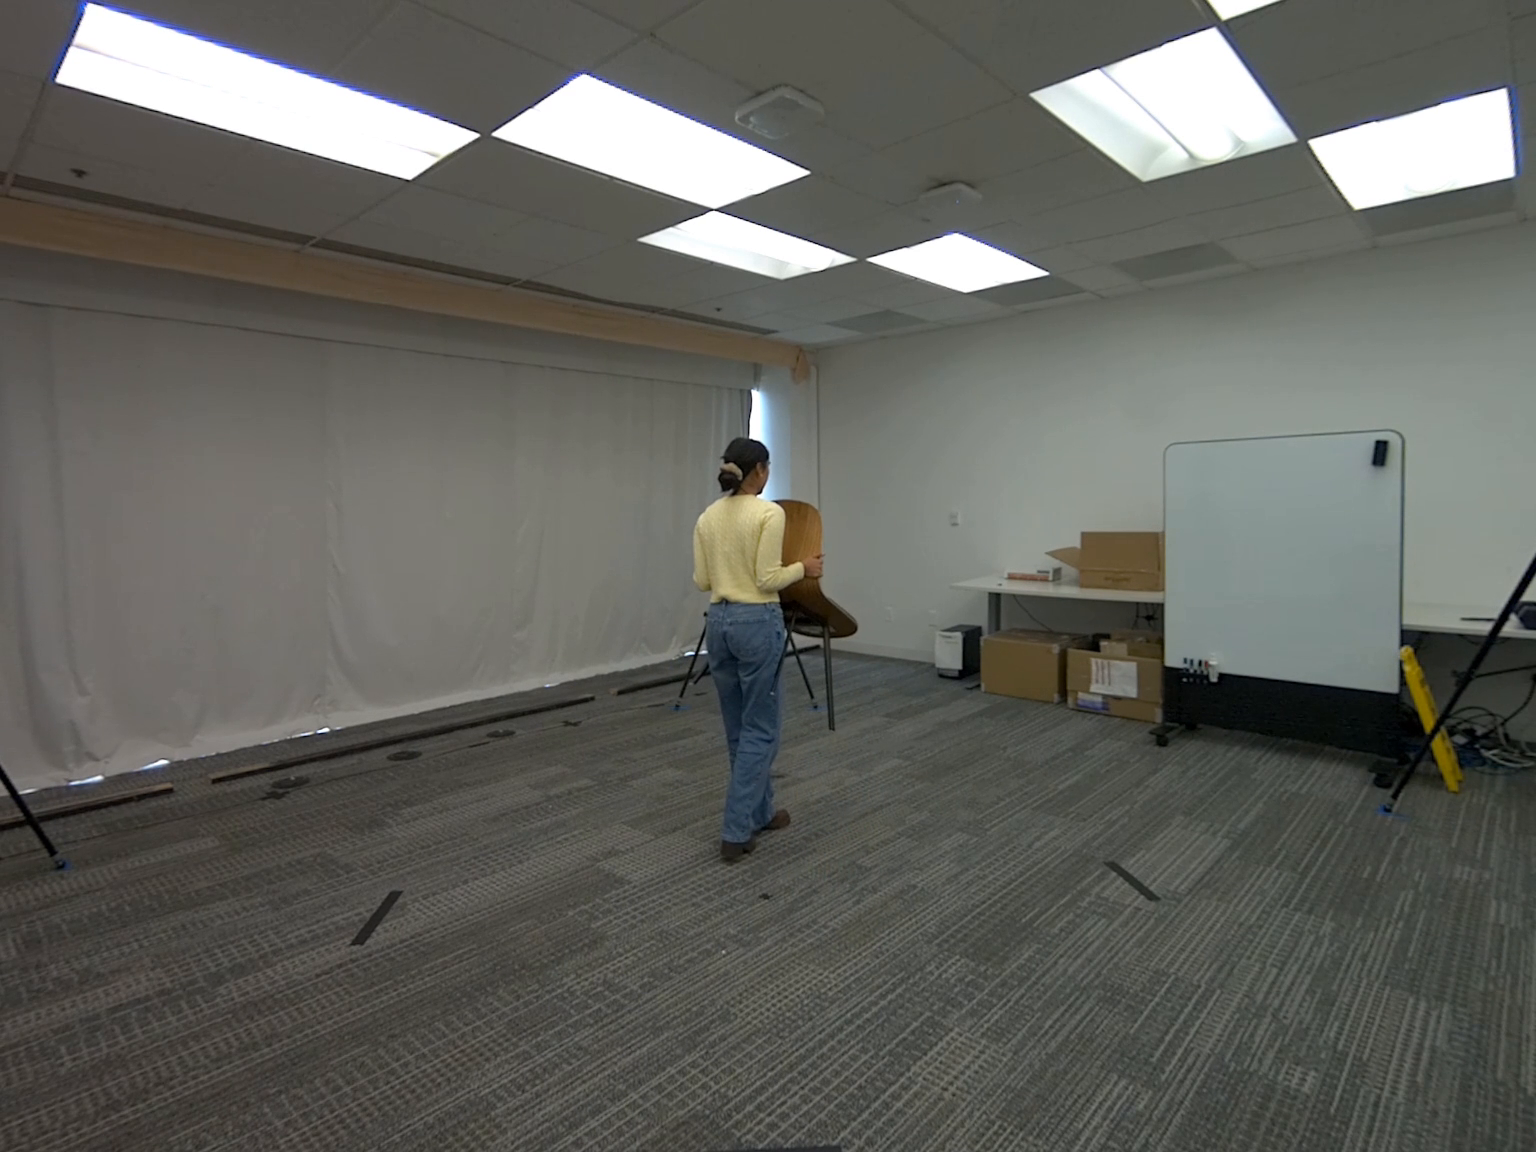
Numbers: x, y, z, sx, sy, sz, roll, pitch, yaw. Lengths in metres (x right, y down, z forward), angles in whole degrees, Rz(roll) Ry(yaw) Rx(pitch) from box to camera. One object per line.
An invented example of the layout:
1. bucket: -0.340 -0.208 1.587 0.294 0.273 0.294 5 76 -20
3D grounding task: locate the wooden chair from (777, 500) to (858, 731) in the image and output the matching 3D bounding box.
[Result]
1. wooden chair: 0.105 0.175 3.674 0.493 0.883 0.504 -3 -24 40
